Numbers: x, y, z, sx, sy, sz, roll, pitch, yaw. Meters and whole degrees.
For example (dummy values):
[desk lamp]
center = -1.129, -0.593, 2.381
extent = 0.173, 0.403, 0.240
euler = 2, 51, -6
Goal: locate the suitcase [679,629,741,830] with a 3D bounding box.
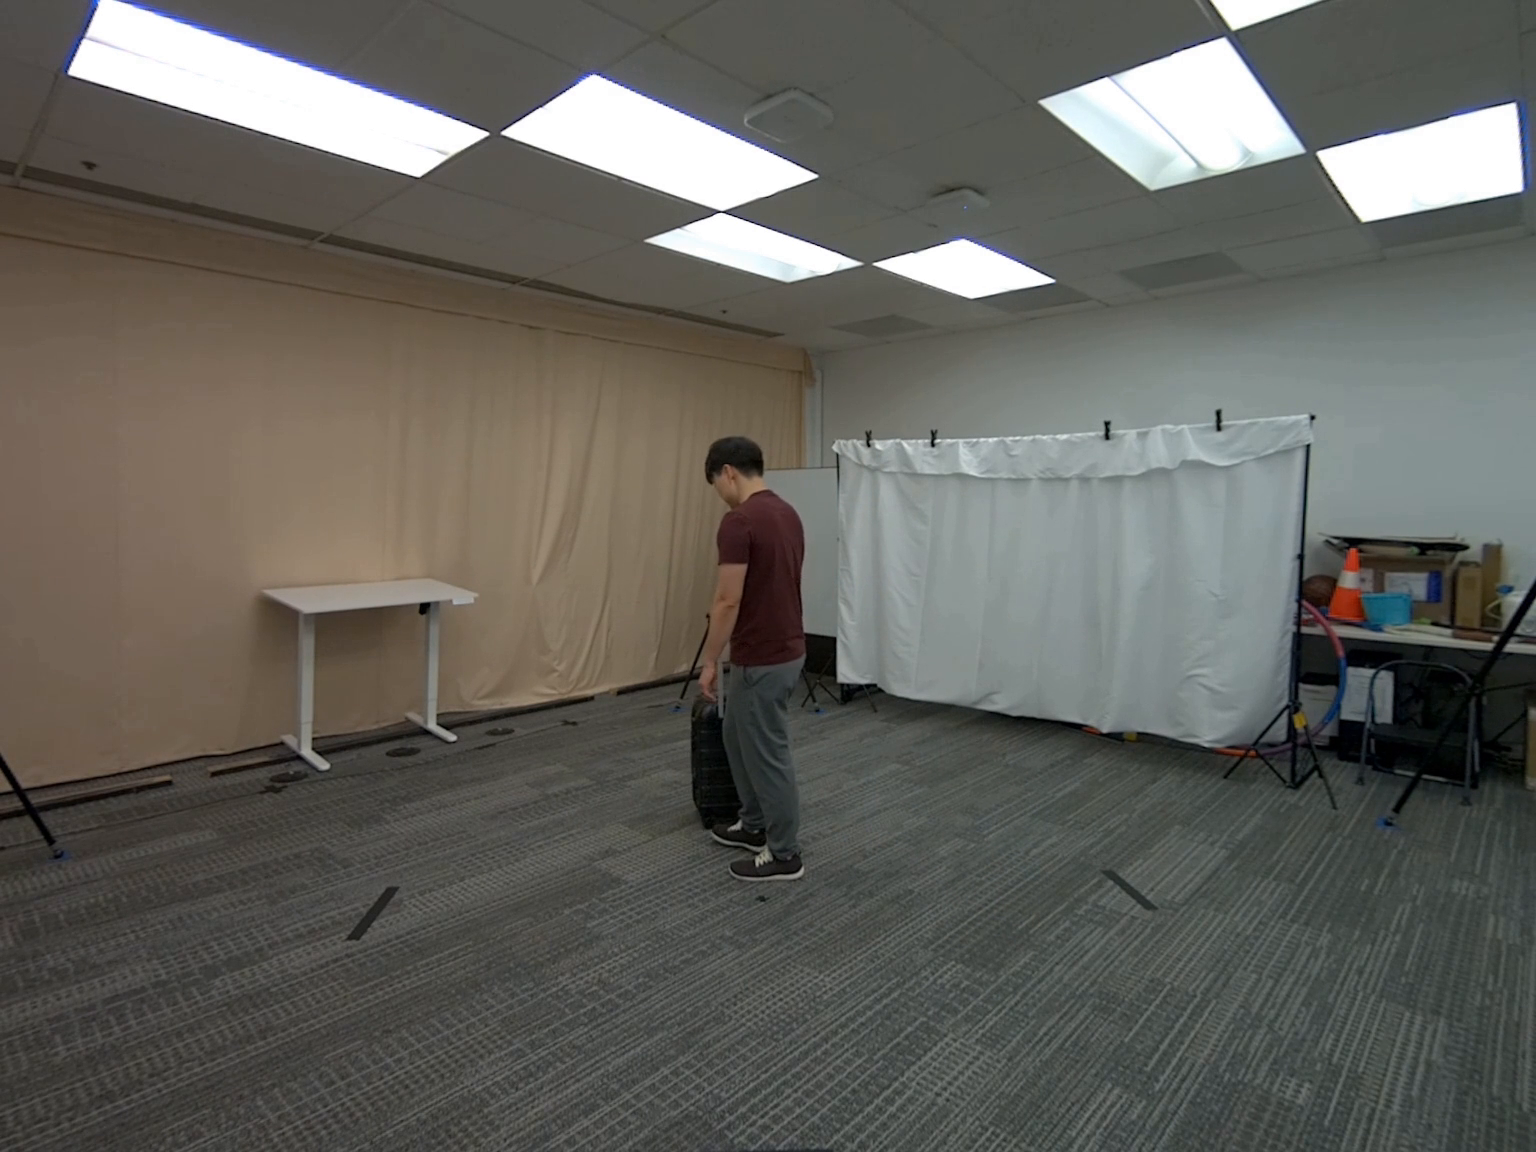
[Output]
[suitcase]
center = -0.161, 0.602, 3.744
extent = 0.382, 0.977, 0.259
euler = -1, 2, -6
